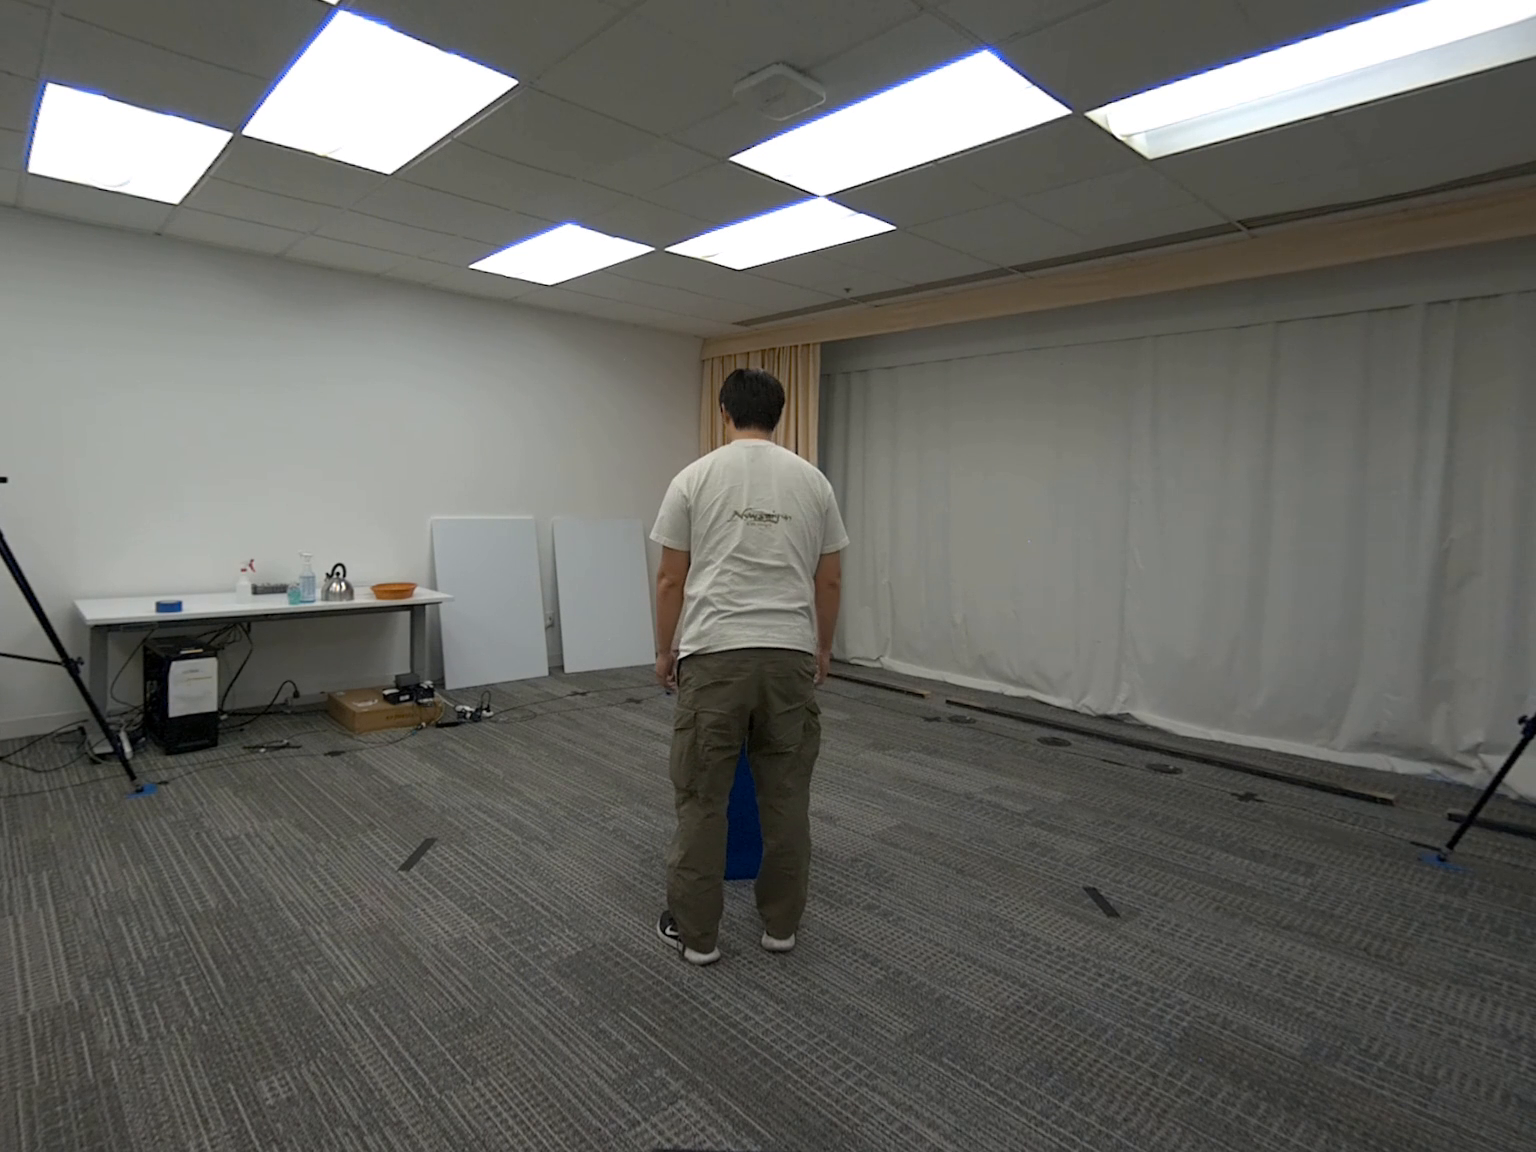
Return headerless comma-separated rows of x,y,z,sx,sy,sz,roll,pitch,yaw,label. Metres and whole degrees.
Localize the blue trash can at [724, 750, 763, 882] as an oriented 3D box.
-0.165,0.738,3.190,0.375,0.712,0.378,1,3,-10,blue trash can
